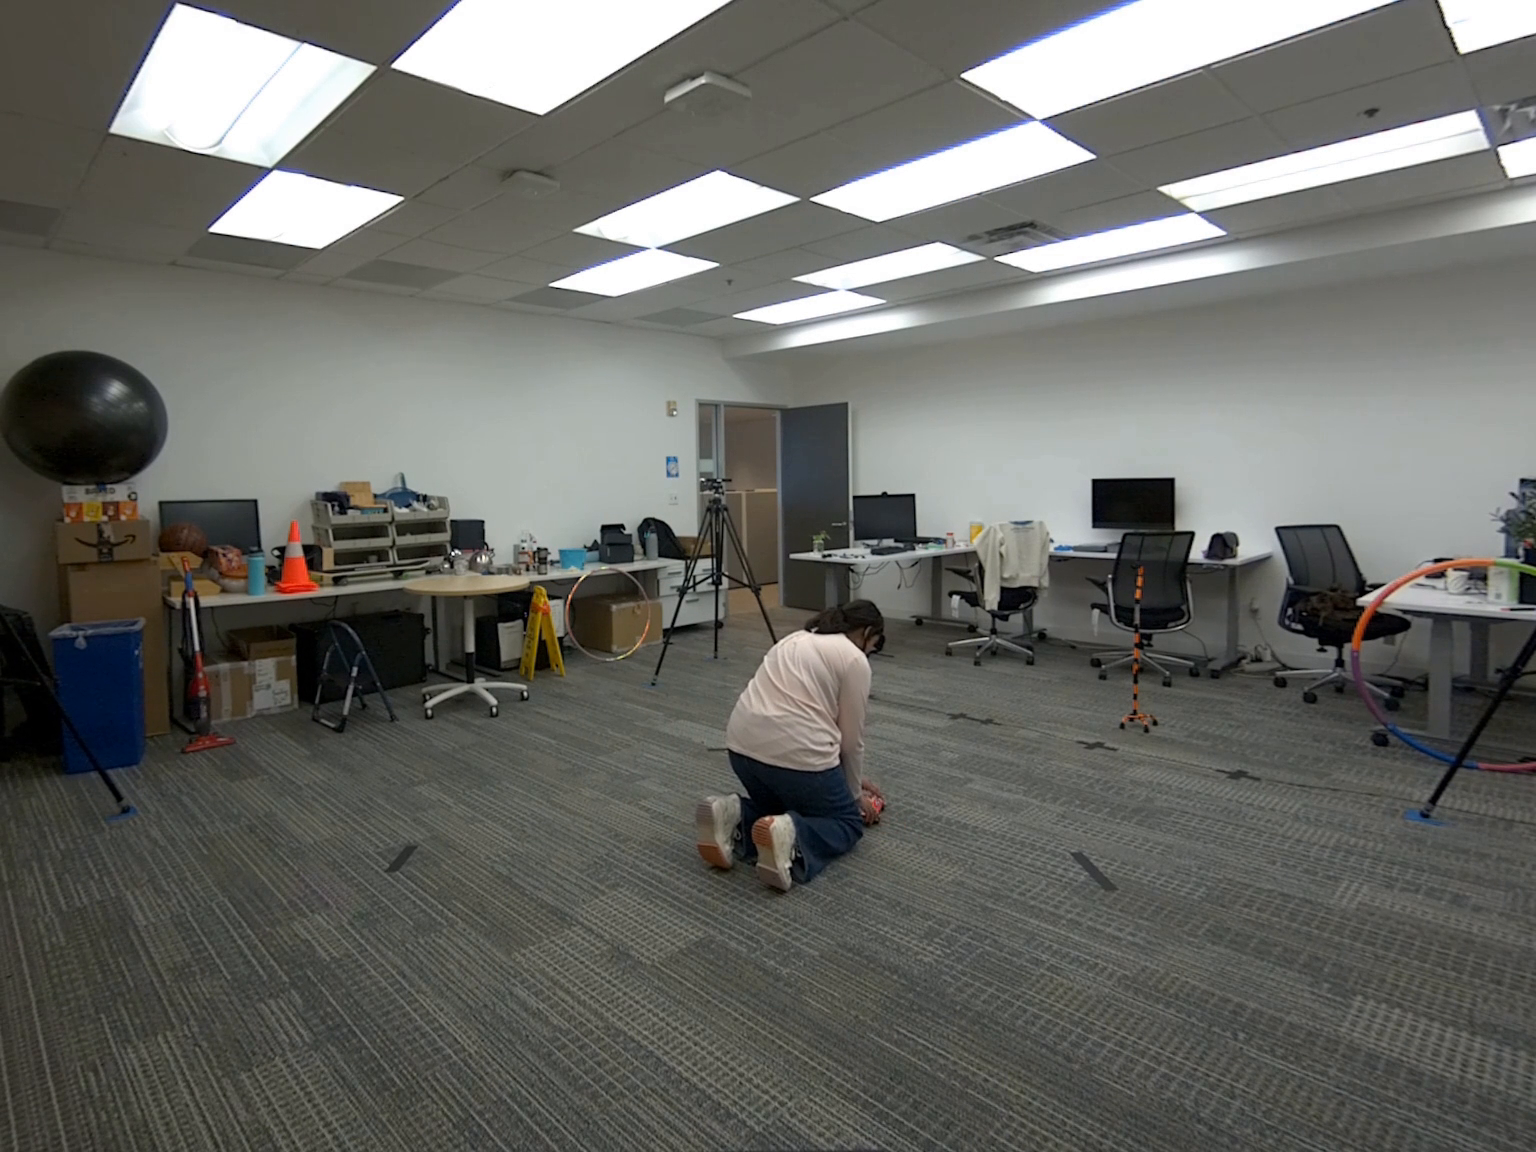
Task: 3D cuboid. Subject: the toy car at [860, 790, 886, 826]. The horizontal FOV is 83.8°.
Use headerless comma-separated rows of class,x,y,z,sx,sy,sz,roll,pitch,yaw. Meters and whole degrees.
toy car,0.413,0.962,3.520,0.132,0.083,0.249,3,-4,16
